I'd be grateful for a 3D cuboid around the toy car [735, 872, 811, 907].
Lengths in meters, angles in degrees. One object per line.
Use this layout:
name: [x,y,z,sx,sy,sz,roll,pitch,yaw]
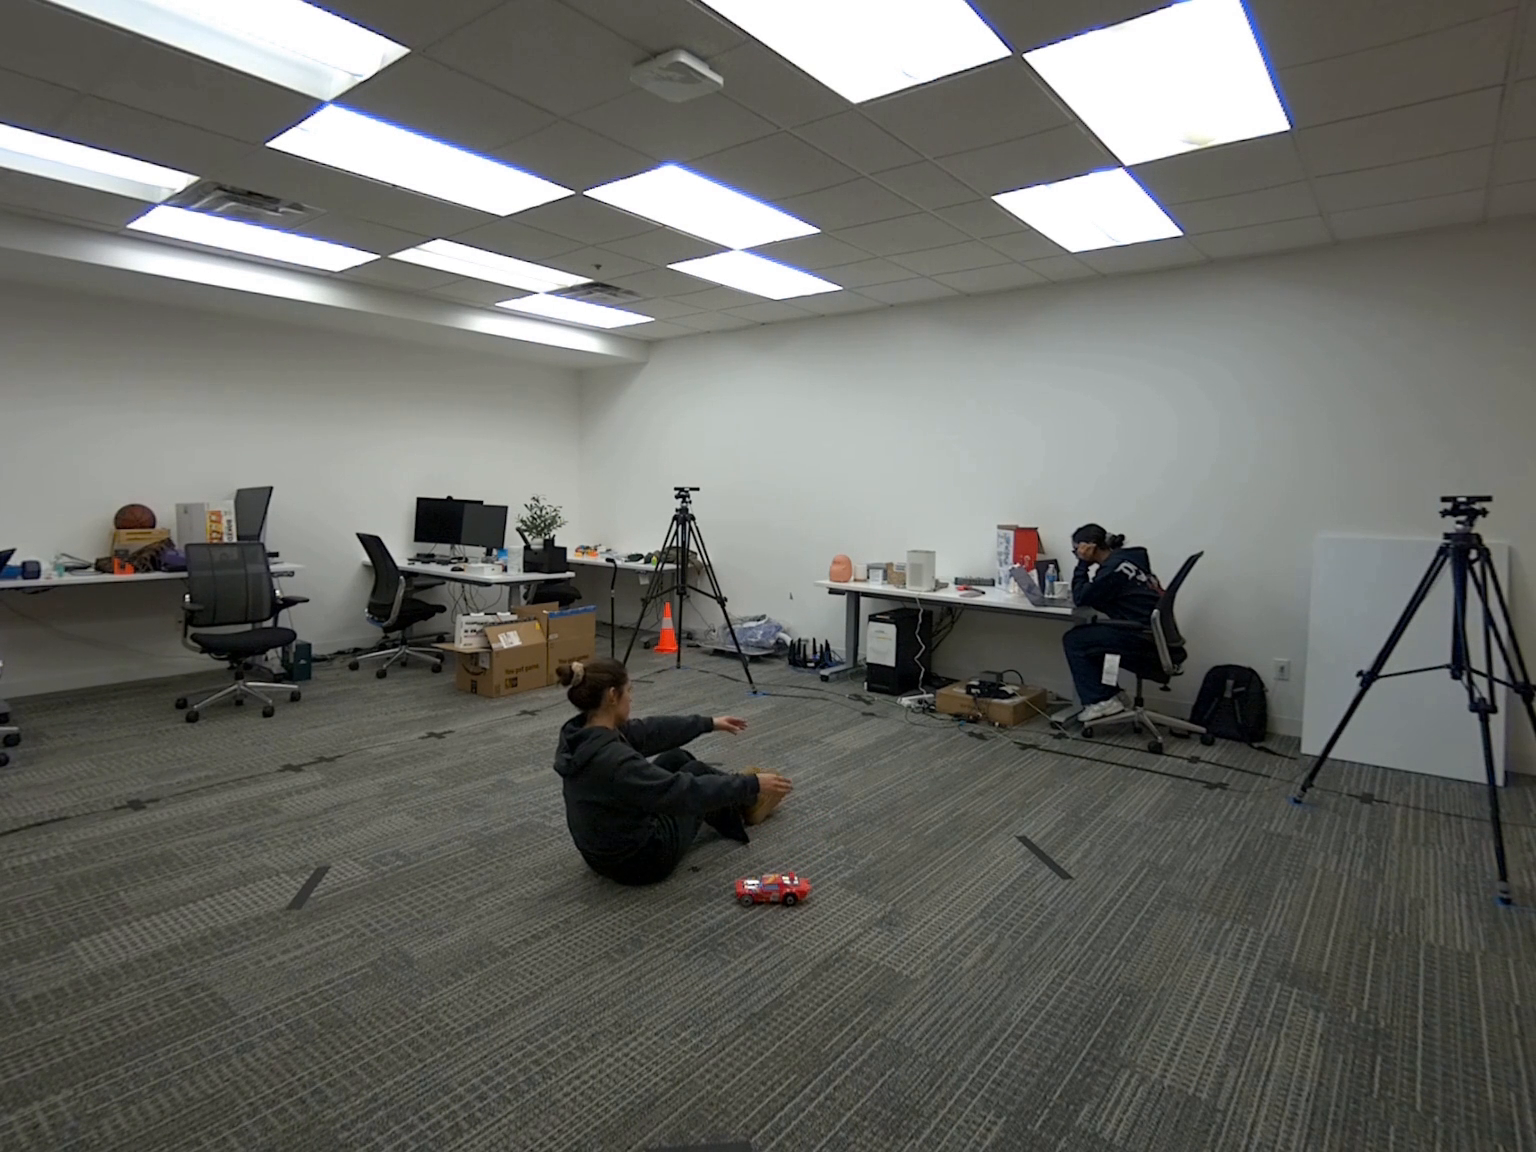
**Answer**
toy car: [0.027,1.063,2.881,0.254,0.083,0.131,-11,4,-3]
